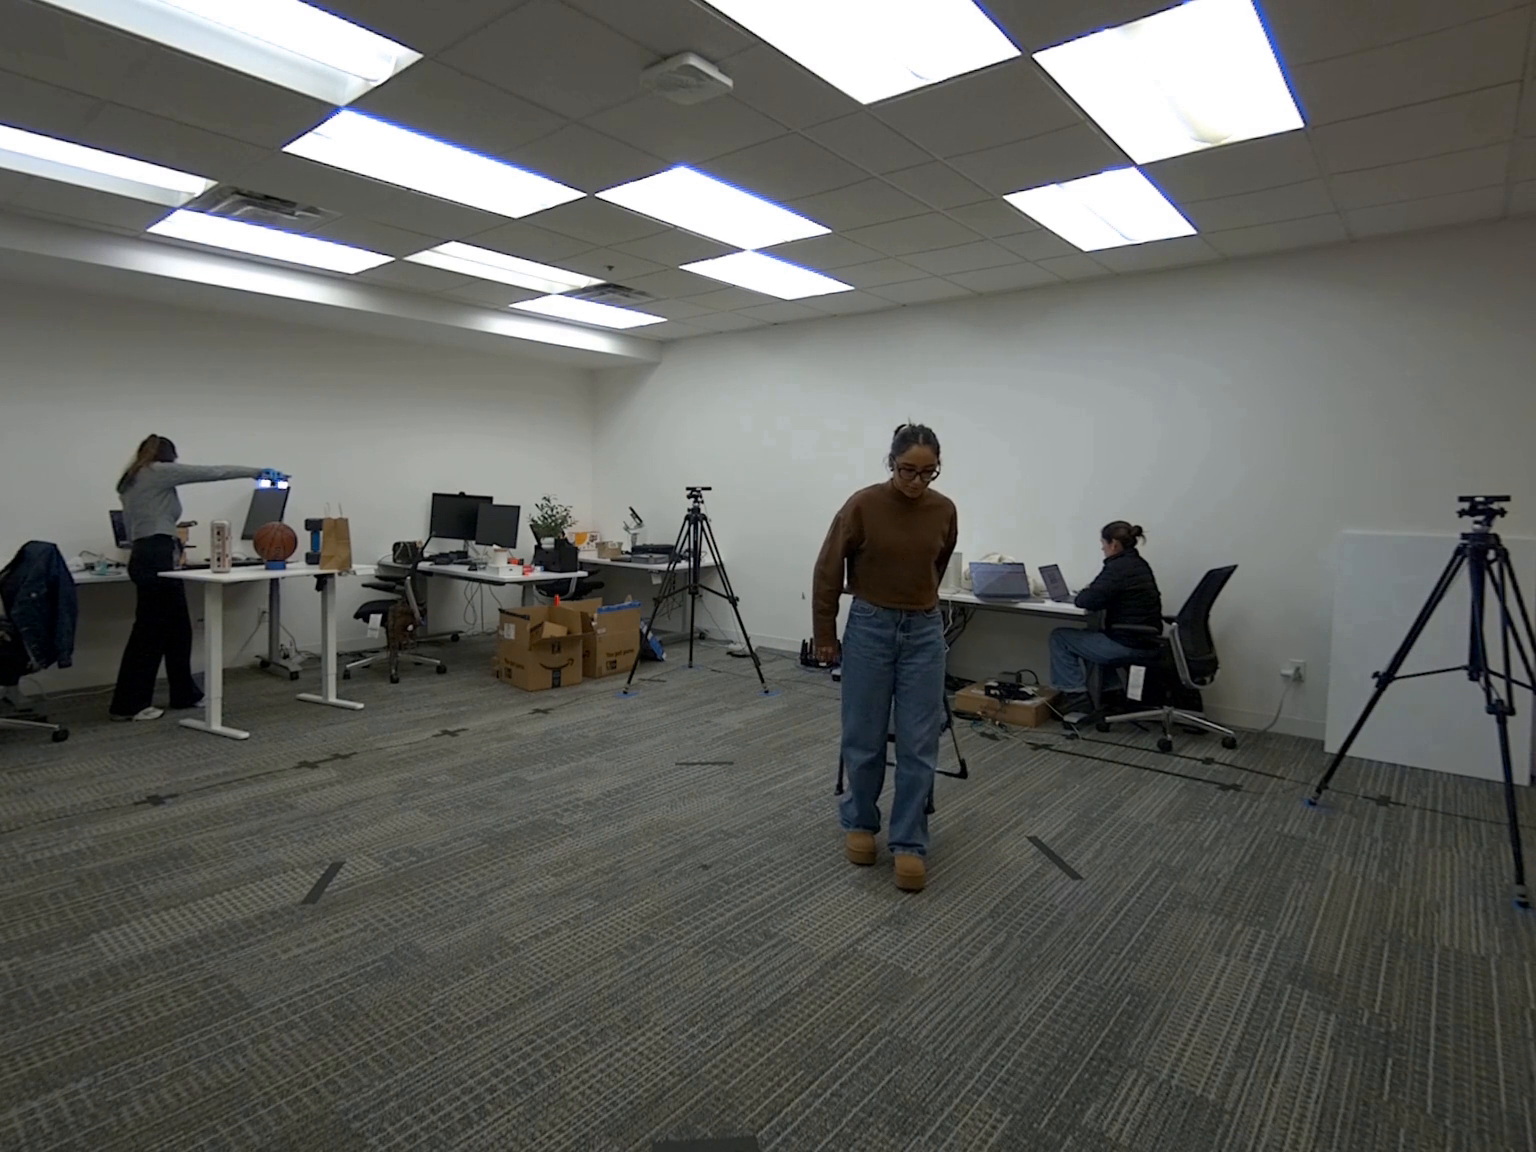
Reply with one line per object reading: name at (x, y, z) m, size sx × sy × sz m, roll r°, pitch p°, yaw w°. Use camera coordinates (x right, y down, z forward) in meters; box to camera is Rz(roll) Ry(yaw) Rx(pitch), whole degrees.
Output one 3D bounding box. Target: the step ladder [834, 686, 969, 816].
step ladder at (0.489, 0.536, 3.359) m, size 0.444 × 0.601 × 0.341 m, roll -2°, pitch 10°, yaw 38°
